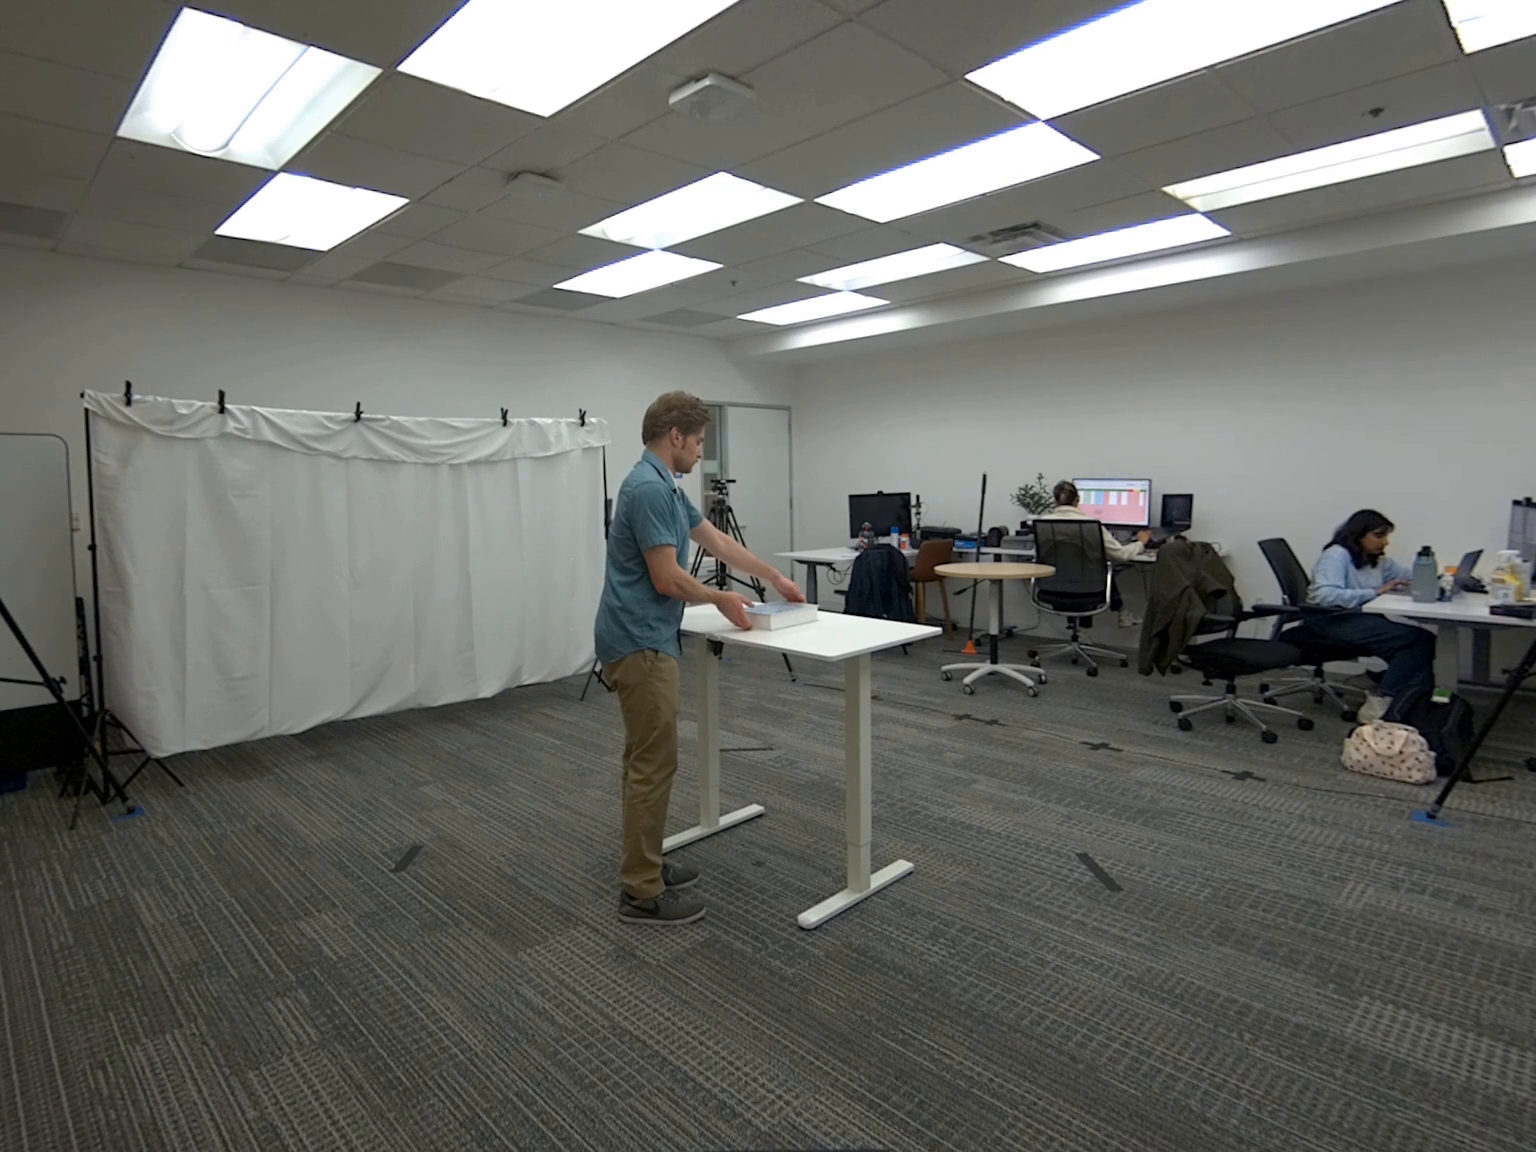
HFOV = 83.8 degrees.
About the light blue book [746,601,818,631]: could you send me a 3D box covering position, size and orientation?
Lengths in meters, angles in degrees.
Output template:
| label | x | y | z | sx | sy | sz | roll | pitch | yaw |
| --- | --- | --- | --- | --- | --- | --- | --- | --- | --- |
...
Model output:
| label | x | y | z | sx | sy | sz | roll | pitch | yaw |
| --- | --- | --- | --- | --- | --- | --- | --- | --- | --- |
| light blue book | 0.029 | 0.141 | 3.046 | 0.197 | 0.059 | 0.254 | 4 | 8 | 43 |
